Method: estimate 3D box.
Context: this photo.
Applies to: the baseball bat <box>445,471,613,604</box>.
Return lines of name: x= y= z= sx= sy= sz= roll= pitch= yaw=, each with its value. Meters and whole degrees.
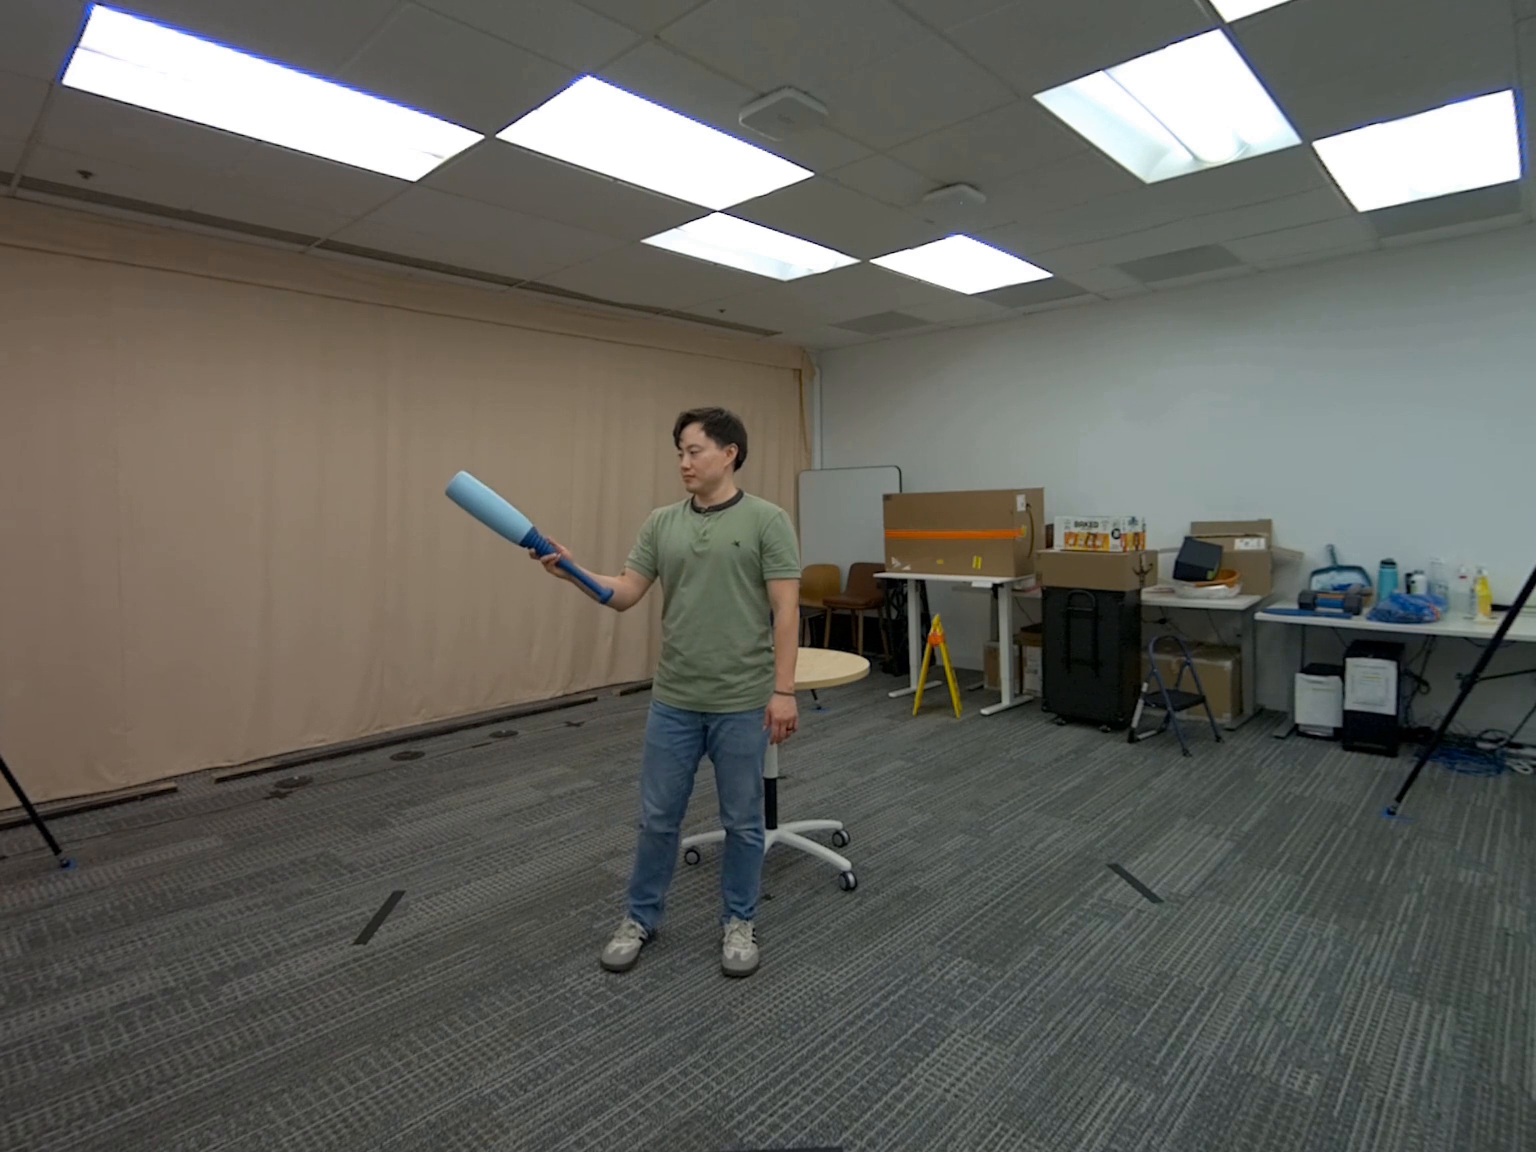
baseball bat: x=-0.659 y=-0.094 z=2.344 sx=0.538 sy=0.089 sz=0.090 roll=39 pitch=-3 yaw=-8
